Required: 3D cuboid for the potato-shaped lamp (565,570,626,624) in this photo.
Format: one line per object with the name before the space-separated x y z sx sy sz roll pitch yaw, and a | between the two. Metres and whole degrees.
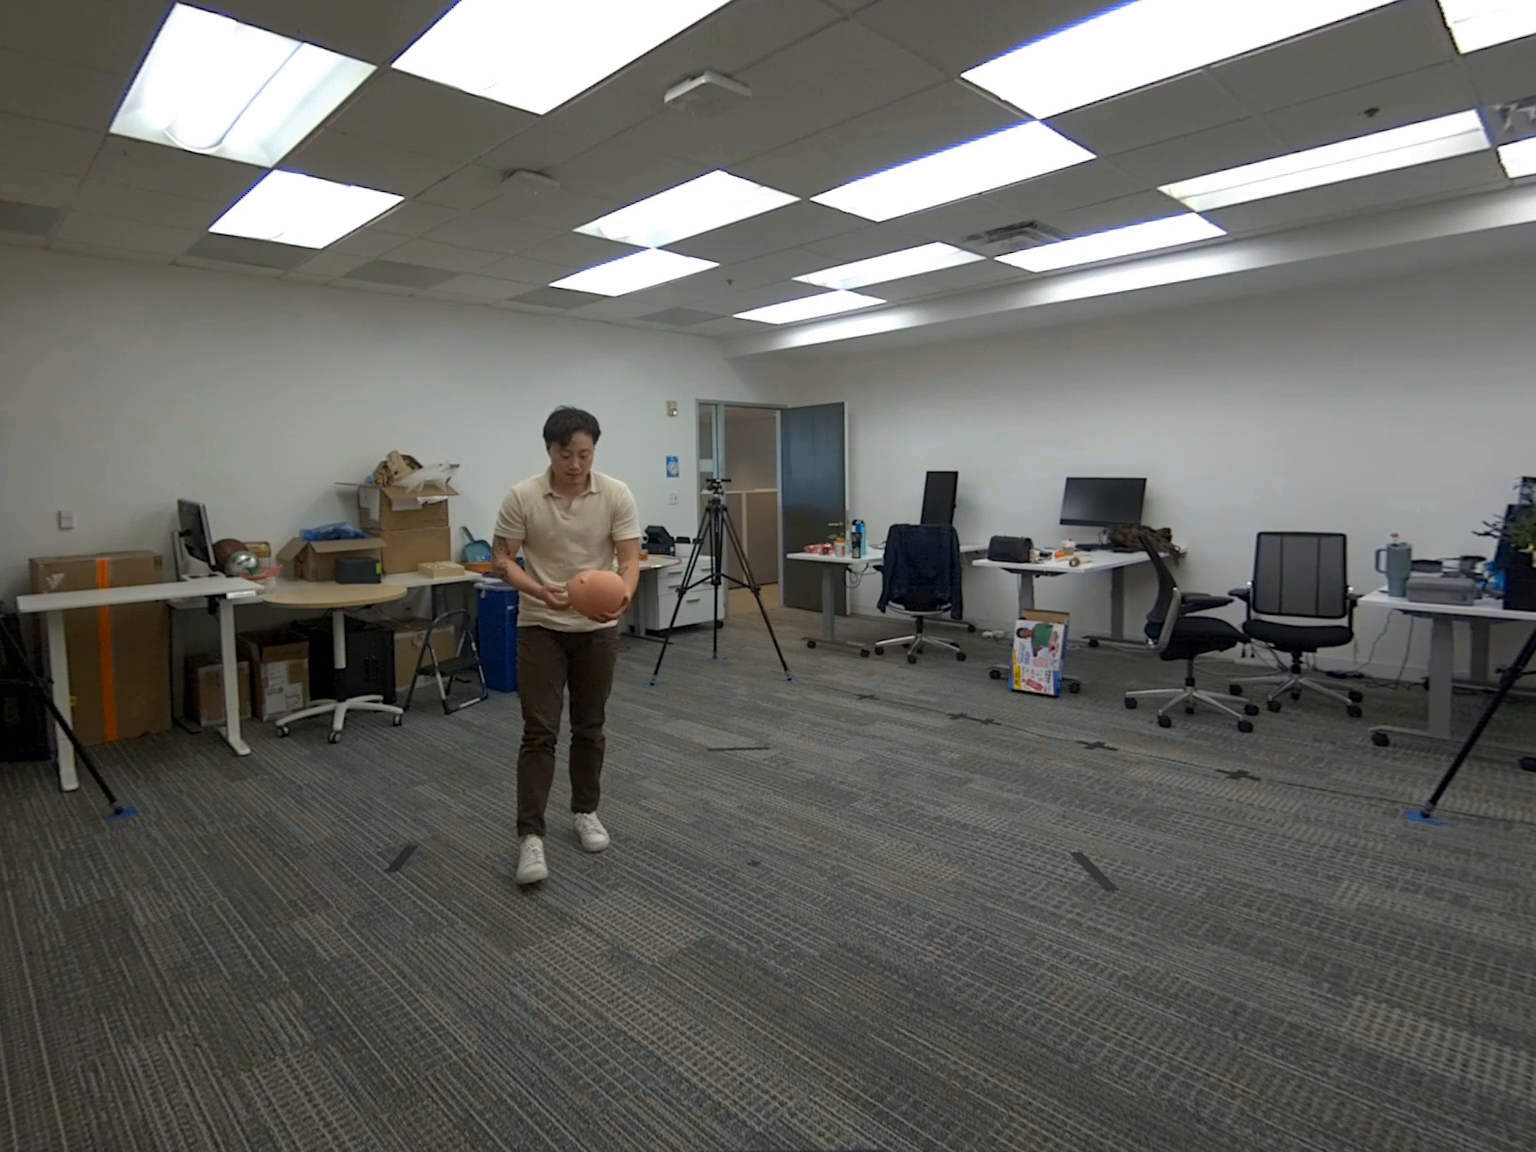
potato-shaped lamp | -0.589 0.052 2.940 0.160 0.173 0.201 -7 -12 -44
